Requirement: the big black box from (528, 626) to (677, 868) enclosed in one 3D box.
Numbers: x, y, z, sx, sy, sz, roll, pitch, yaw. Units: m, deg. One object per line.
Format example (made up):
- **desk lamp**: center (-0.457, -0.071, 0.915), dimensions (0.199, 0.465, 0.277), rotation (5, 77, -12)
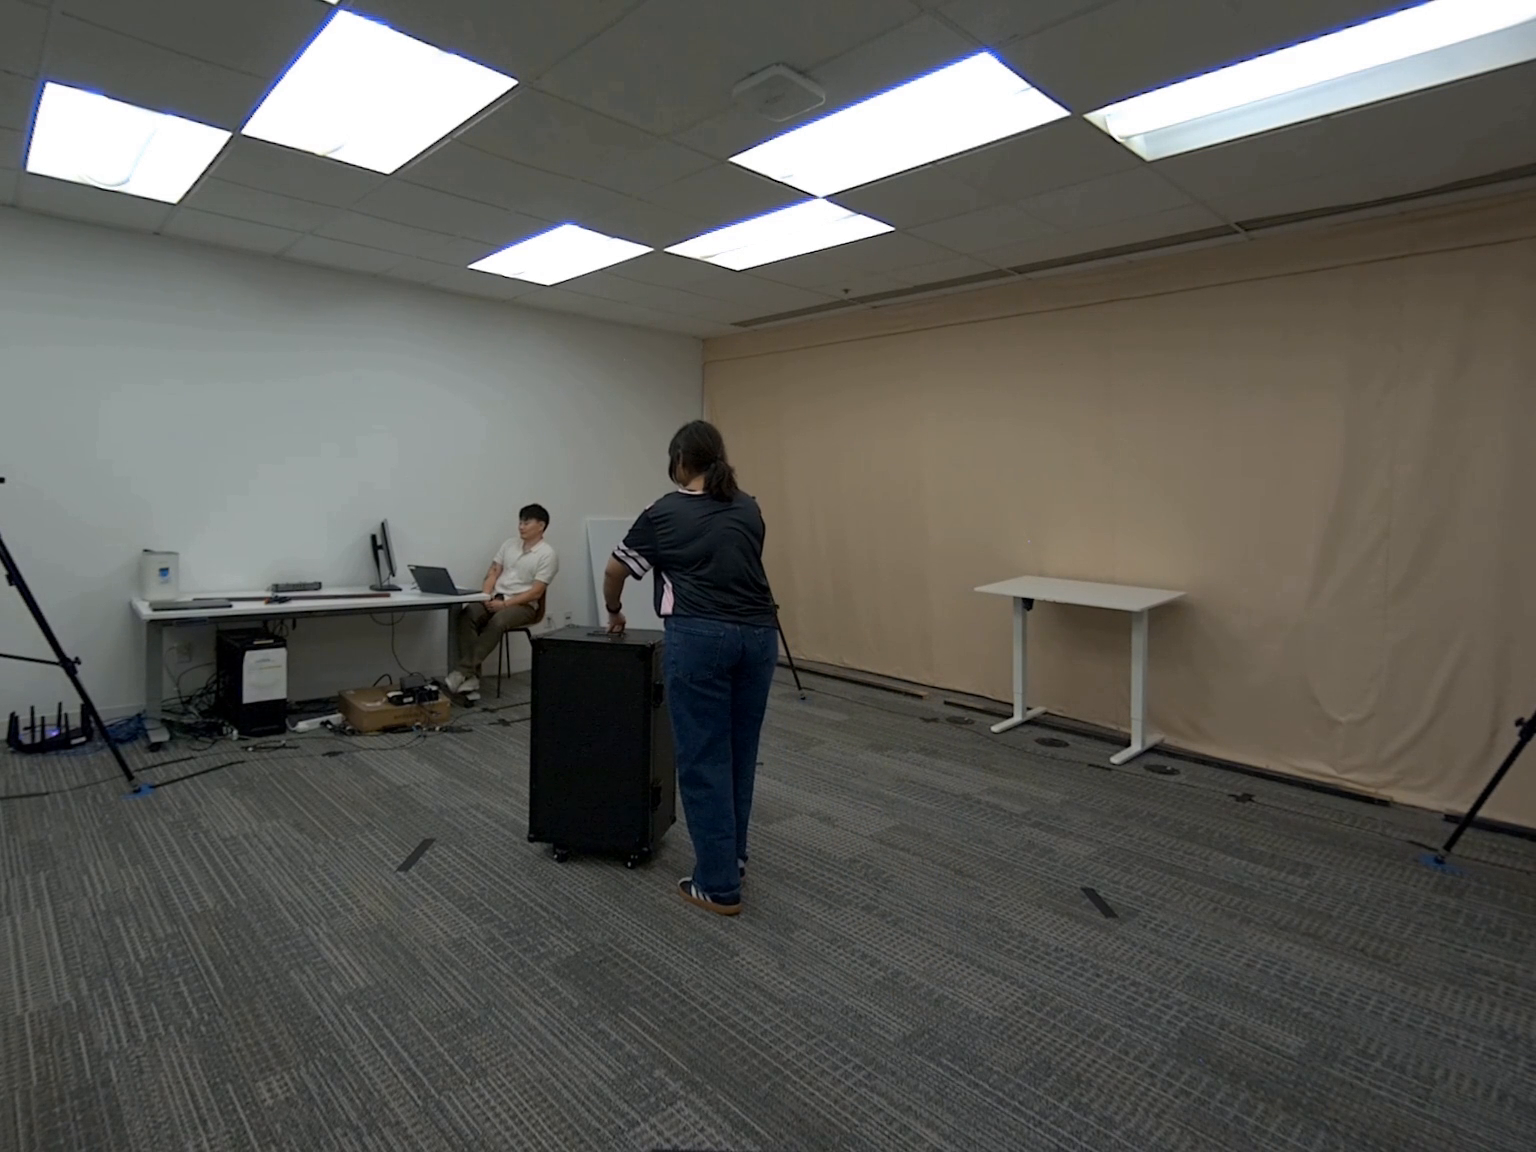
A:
- **big black box**: center (-0.642, 0.653, 3.298), dimensions (0.528, 0.867, 0.382), rotation (3, 2, 11)
